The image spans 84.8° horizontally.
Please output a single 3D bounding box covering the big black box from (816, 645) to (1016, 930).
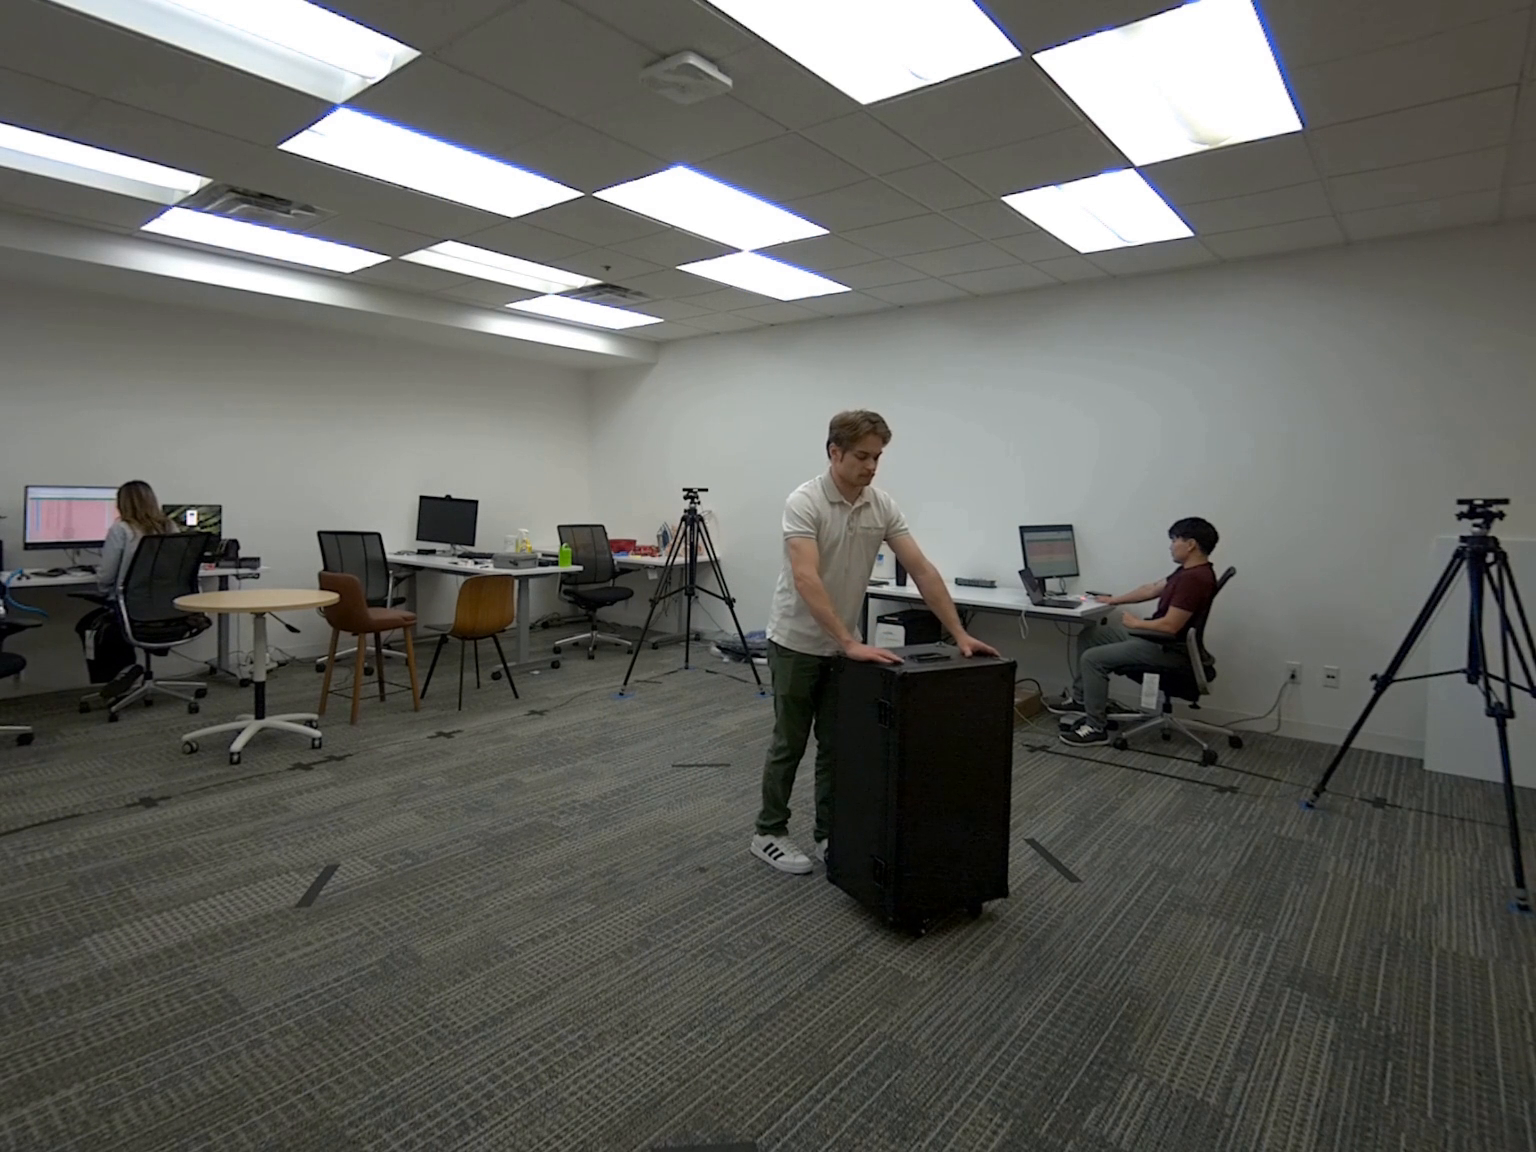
[{"bbox_3d":[0.491,0.690,2.829,0.509,0.866,0.397,0,3,-30],"label":"big black box"}]
